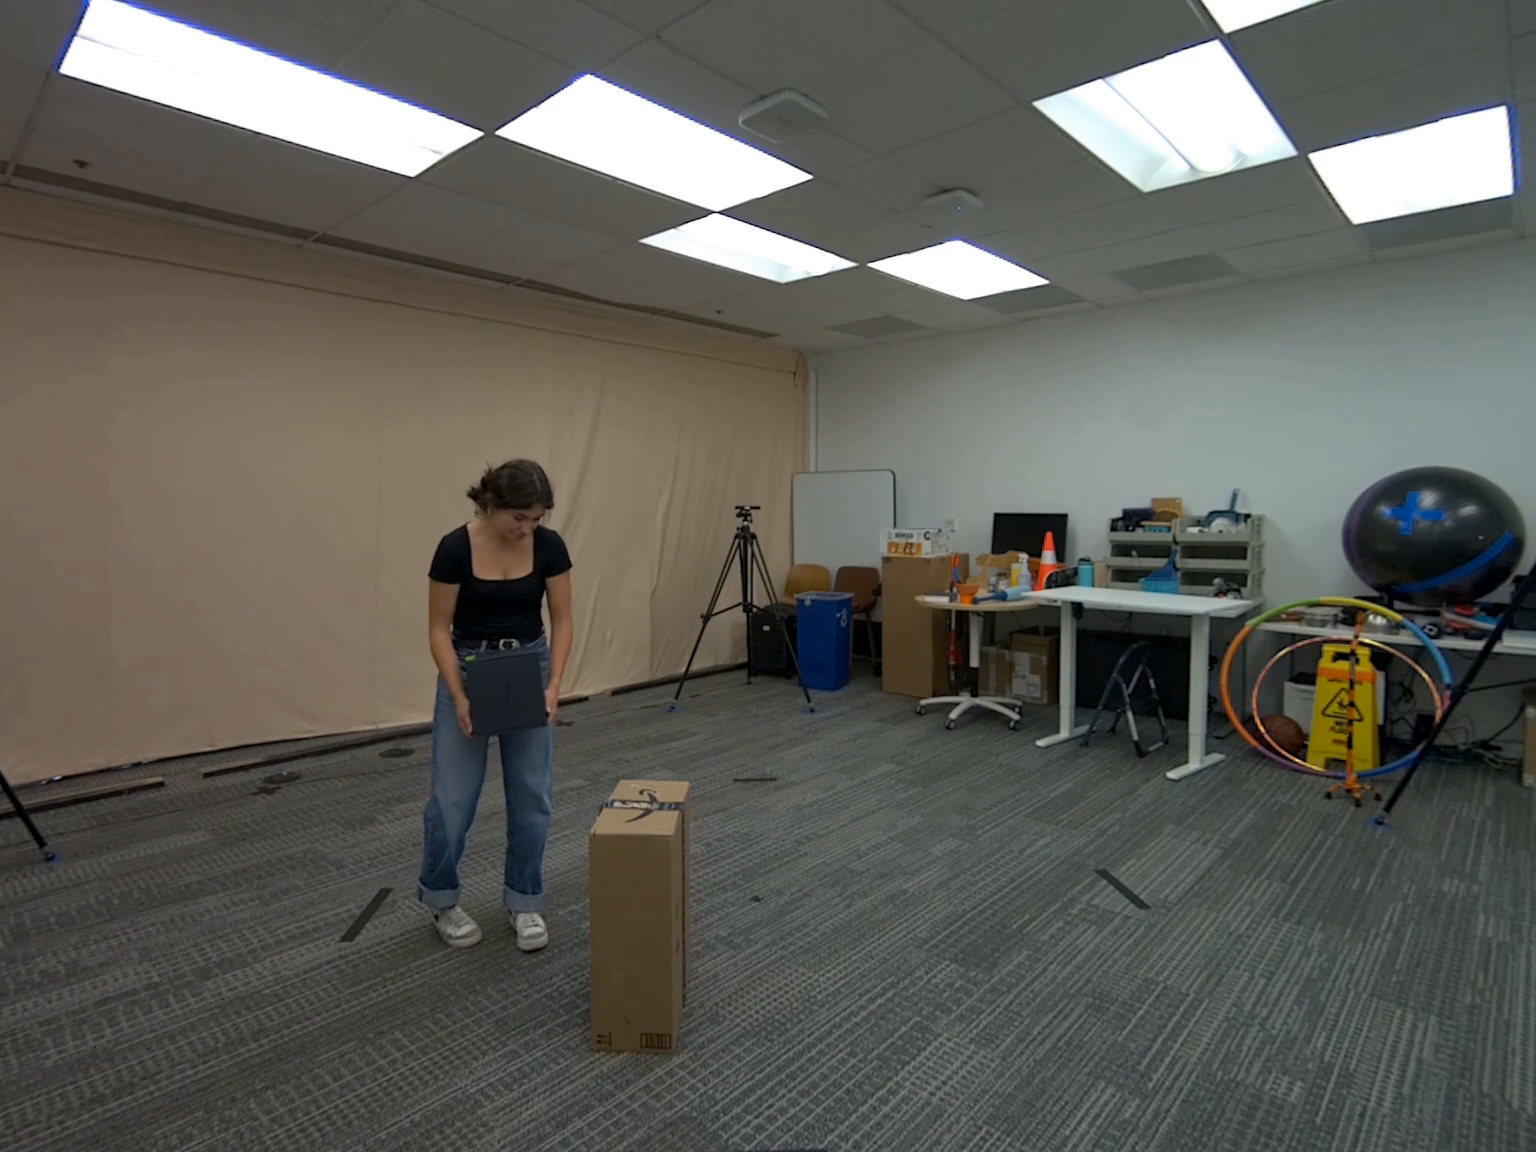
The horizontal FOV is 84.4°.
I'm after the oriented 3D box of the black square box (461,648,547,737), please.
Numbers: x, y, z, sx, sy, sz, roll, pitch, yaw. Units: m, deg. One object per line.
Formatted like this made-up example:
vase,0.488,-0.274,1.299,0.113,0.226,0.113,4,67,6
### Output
black square box,-0.809,0.348,2.544,0.214,0.227,0.158,-7,5,-13
